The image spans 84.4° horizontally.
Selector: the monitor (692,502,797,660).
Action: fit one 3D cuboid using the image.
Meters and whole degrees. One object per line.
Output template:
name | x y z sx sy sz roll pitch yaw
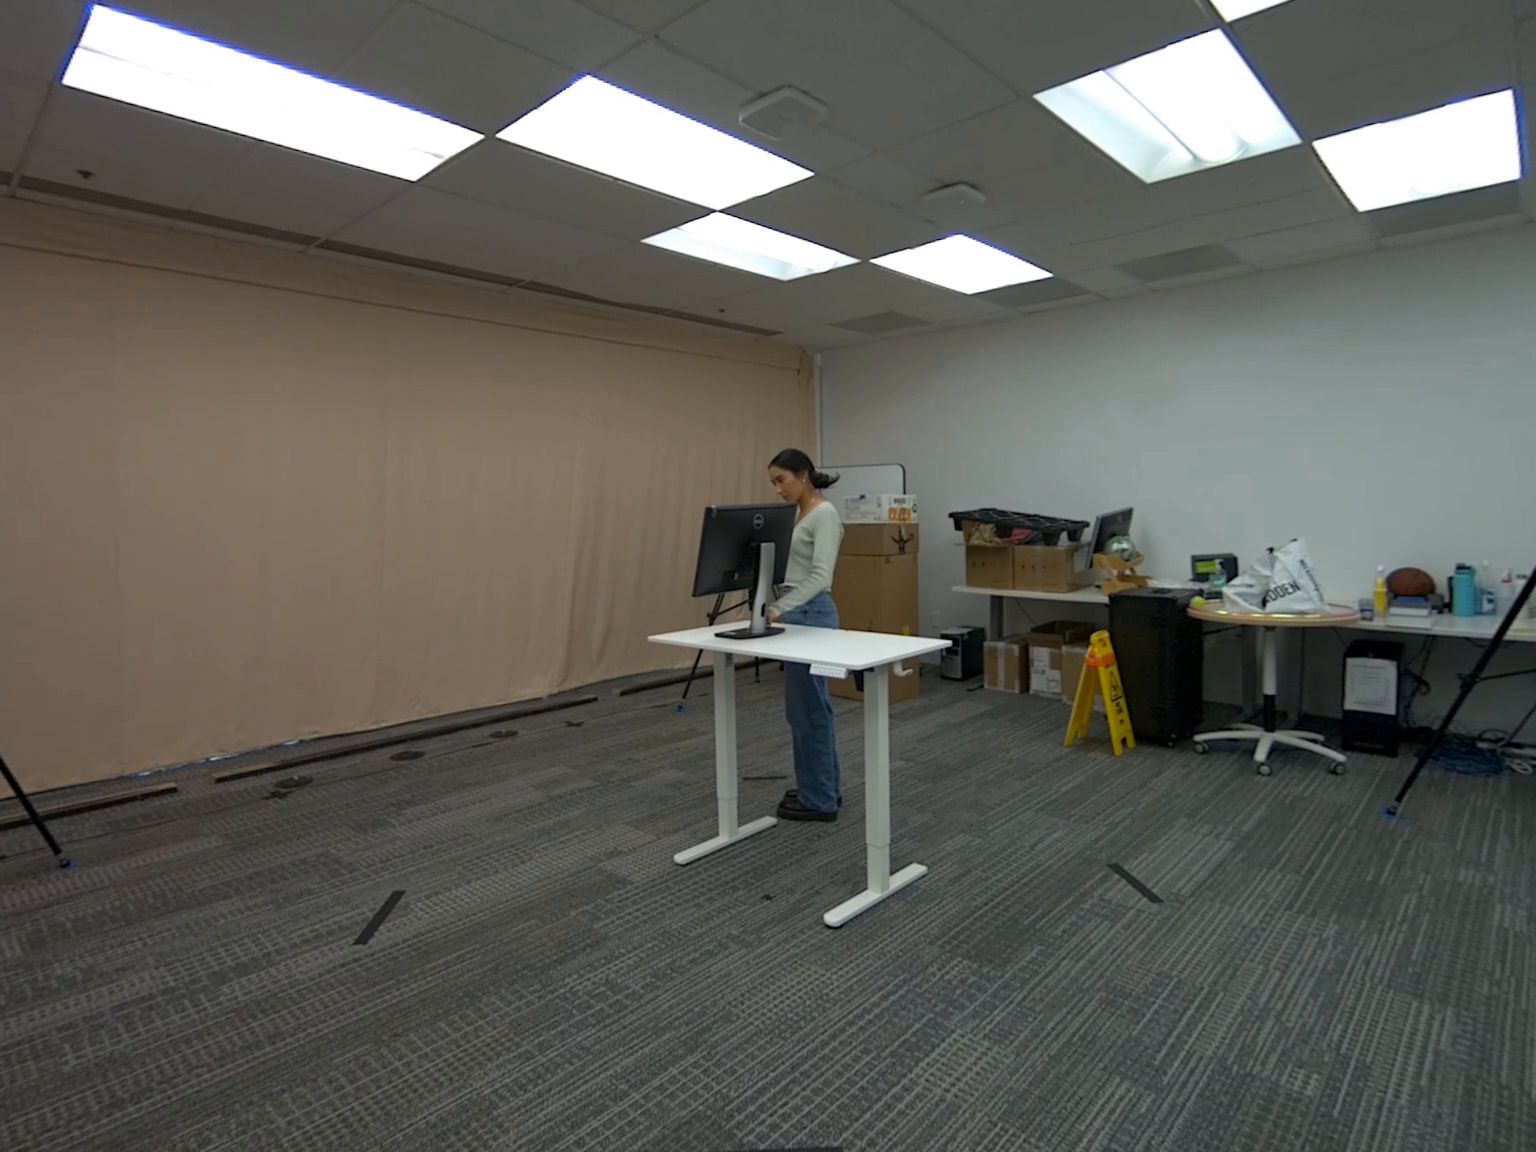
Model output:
monitor | -0.058 -0.020 3.303 0.193 0.521 0.523 4 7 40
